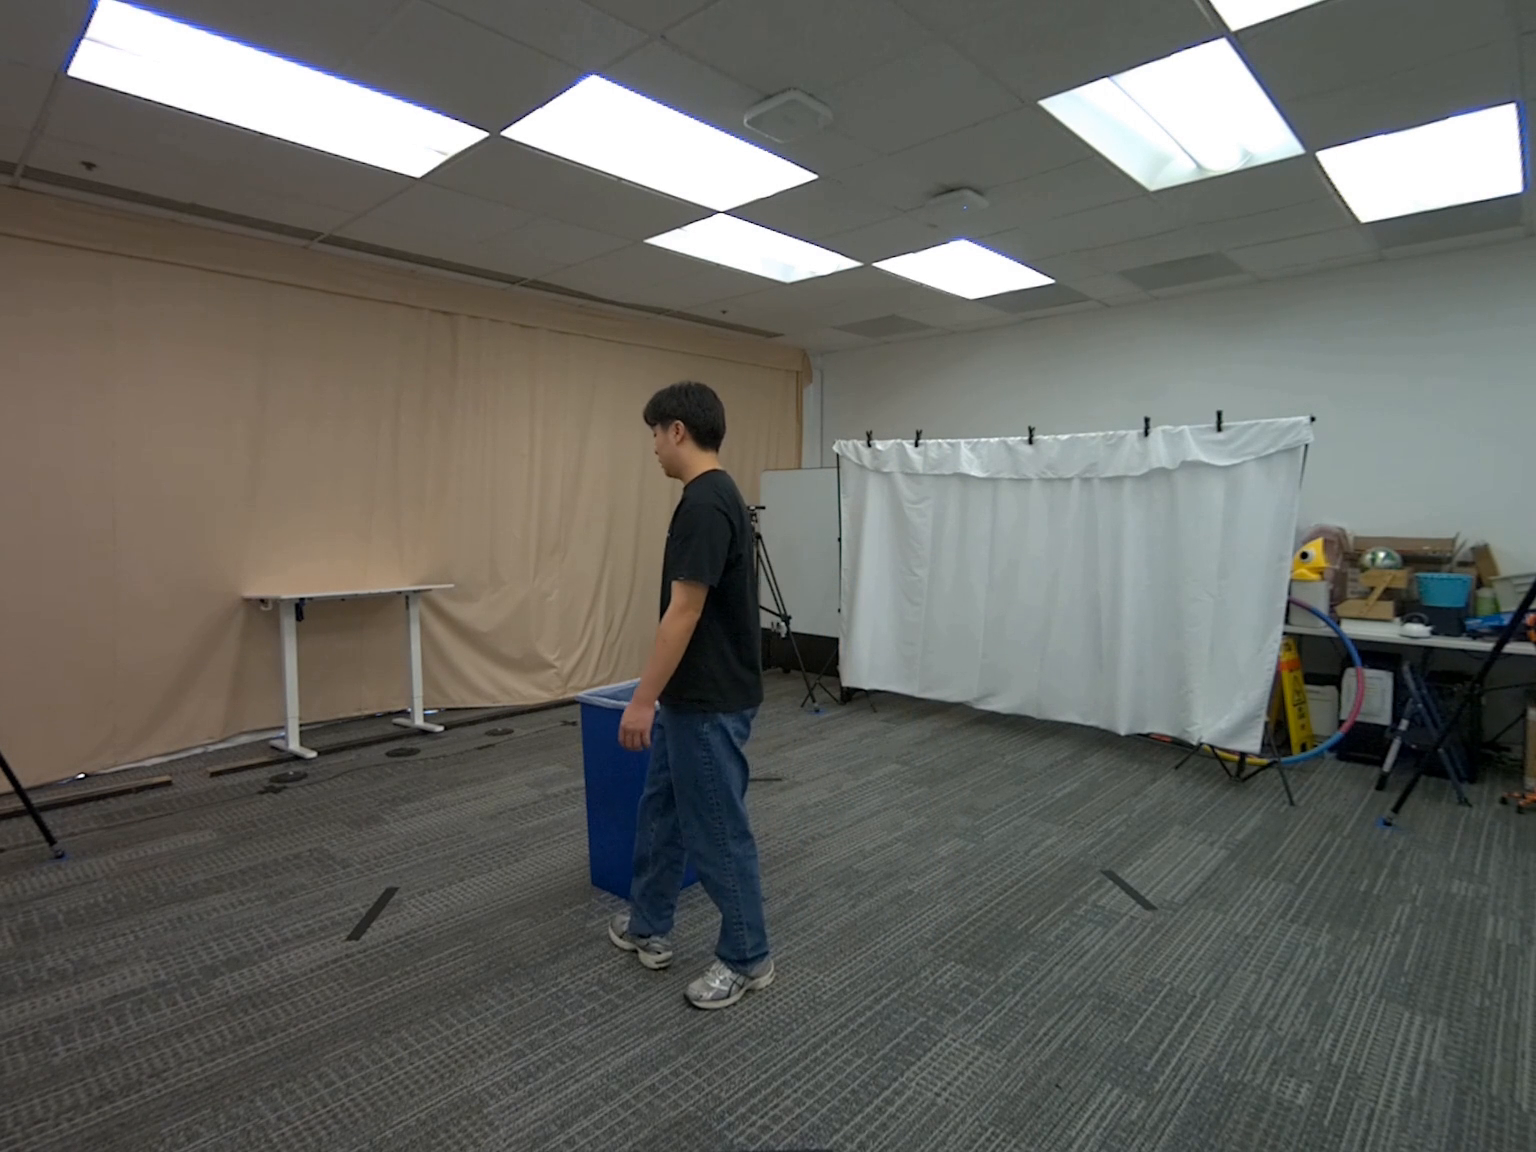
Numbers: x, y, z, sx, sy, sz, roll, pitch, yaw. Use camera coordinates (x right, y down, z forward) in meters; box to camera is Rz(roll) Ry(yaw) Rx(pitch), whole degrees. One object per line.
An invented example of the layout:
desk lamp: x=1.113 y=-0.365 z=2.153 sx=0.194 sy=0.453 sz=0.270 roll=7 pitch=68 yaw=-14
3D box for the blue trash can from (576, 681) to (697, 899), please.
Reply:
blue trash can: x=-0.461 y=0.777 z=3.111 sx=0.386 sy=0.712 sz=0.366 roll=2 pitch=3 yaw=39
